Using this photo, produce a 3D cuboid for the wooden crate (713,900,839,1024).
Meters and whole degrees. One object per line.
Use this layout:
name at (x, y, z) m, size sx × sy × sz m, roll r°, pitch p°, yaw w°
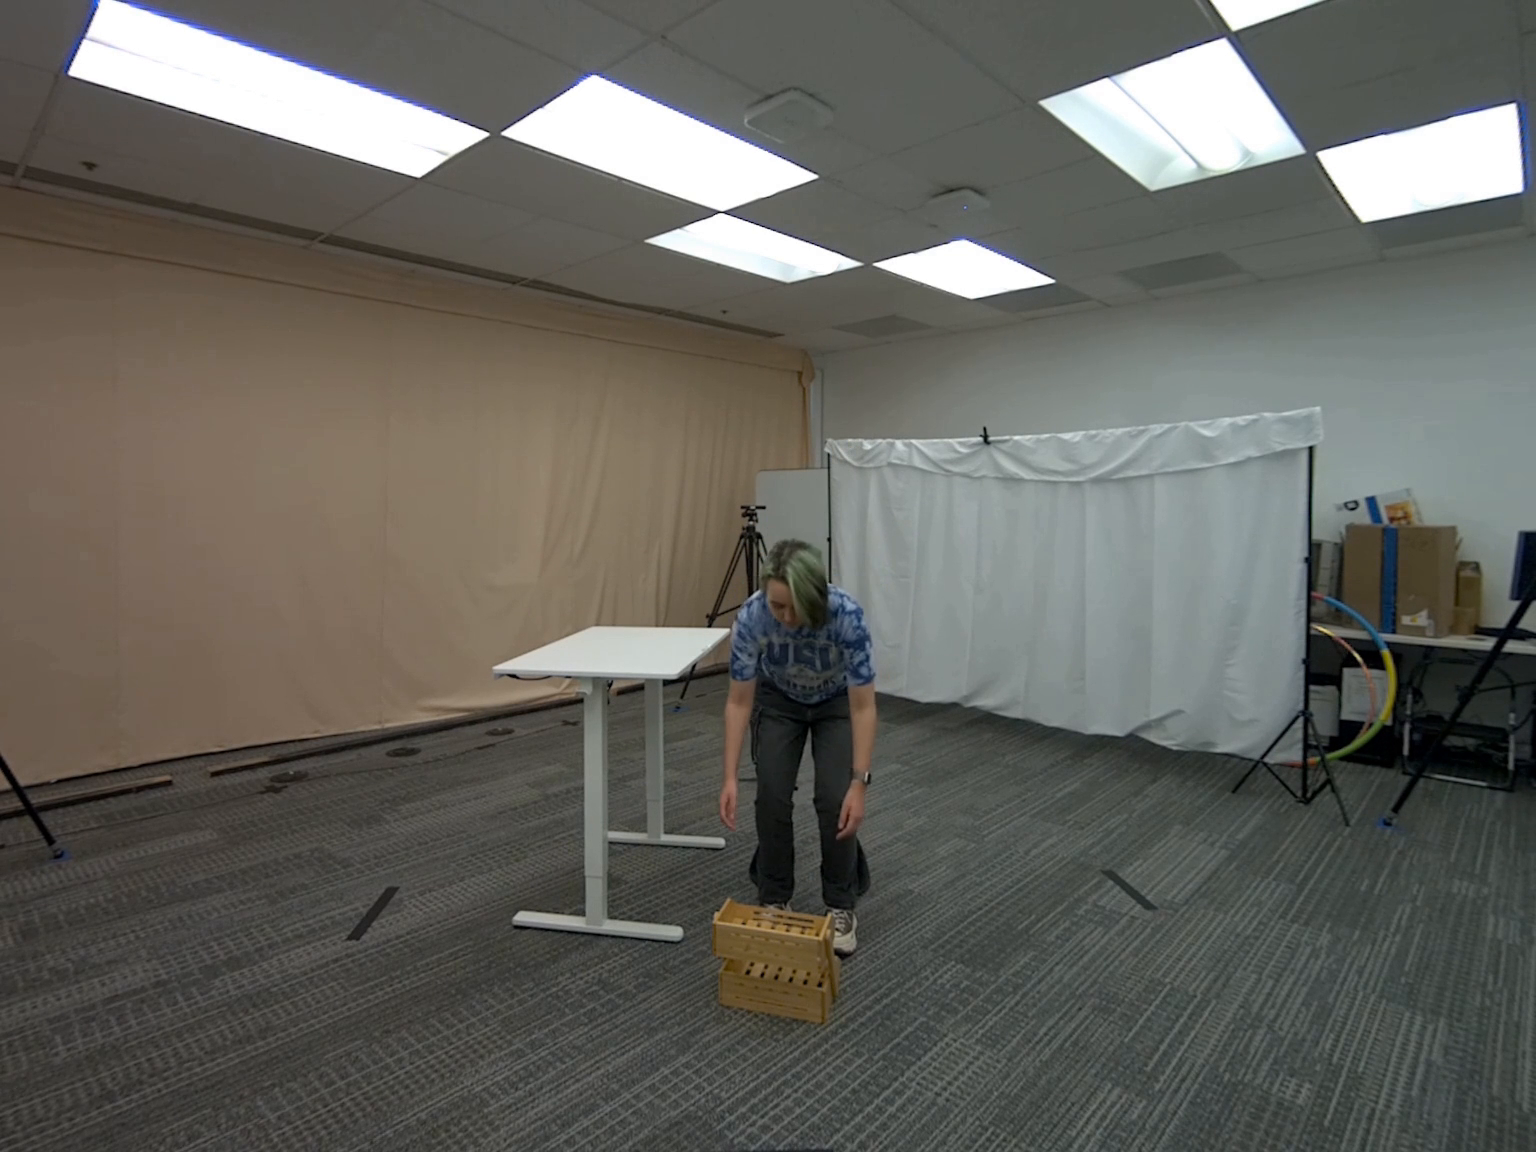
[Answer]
wooden crate at (0.035, 1.054, 2.402) m, size 0.330 × 0.272 × 0.297 m, roll 1°, pitch 4°, yaw 17°
